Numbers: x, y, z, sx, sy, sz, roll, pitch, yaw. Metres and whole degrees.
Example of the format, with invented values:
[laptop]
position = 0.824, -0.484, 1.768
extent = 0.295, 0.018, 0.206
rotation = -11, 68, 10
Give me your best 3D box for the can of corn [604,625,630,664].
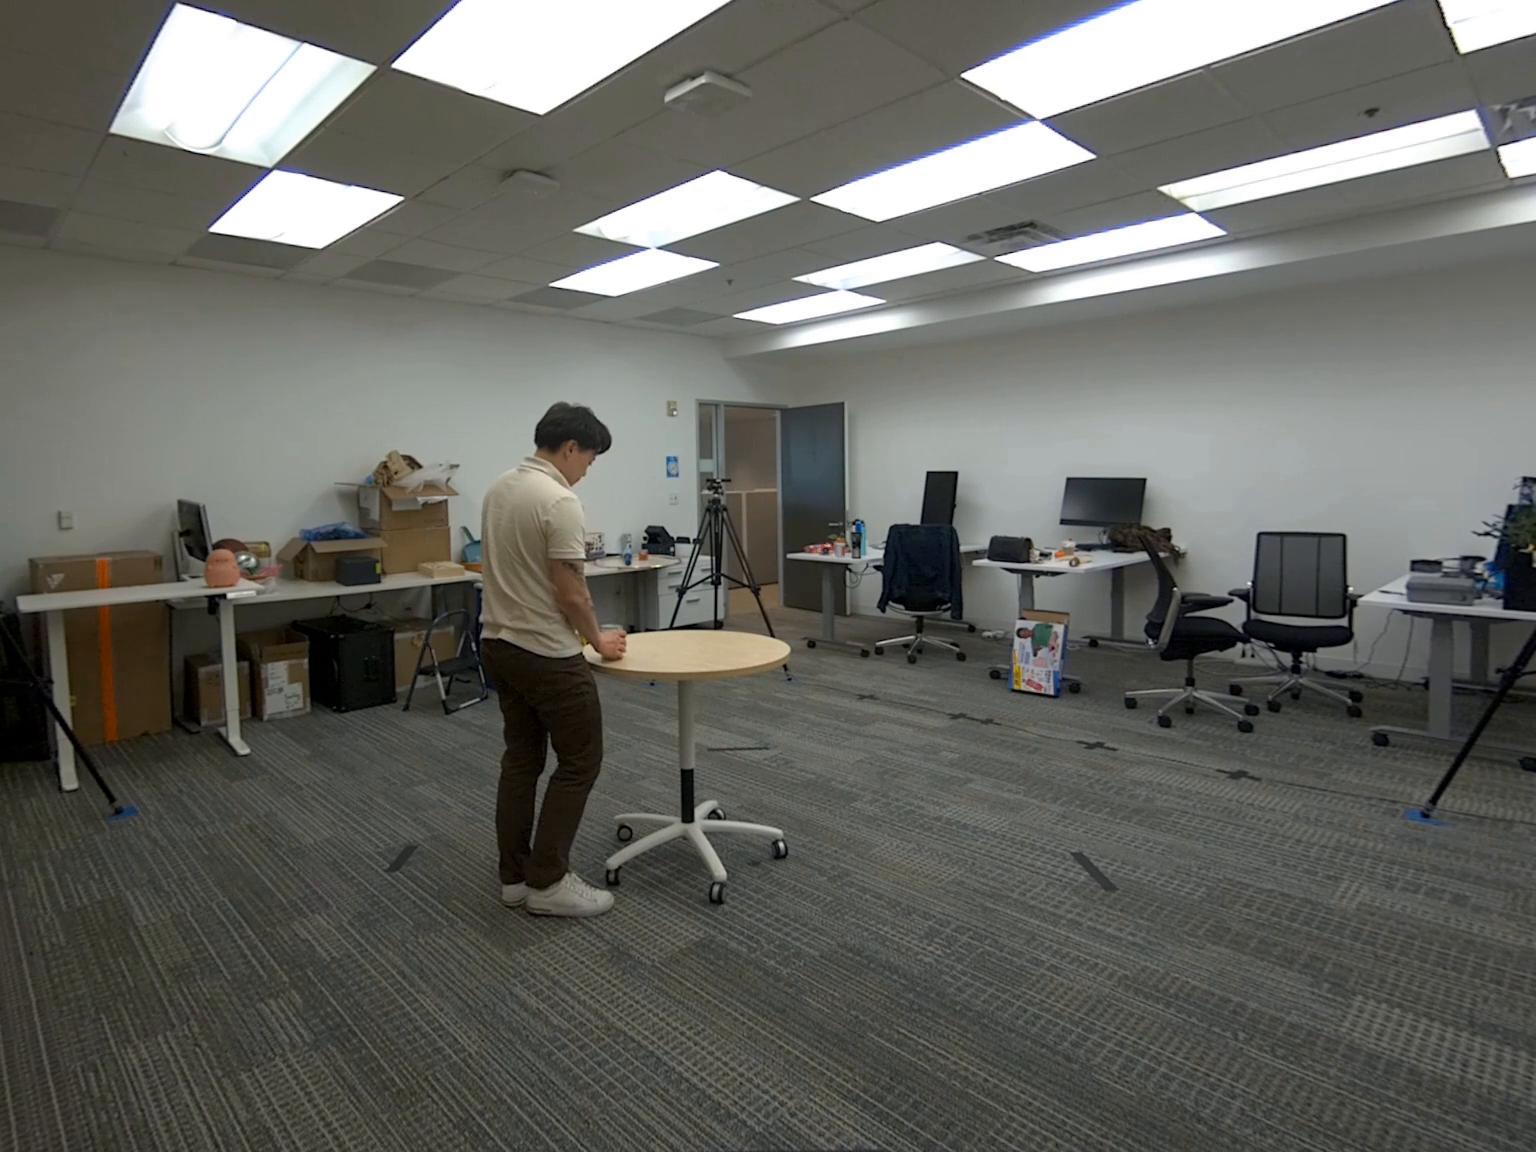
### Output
[can of corn]
position = -0.519, 0.232, 2.935
extent = 0.074, 0.110, 0.075
rotation = -2, 9, -1
